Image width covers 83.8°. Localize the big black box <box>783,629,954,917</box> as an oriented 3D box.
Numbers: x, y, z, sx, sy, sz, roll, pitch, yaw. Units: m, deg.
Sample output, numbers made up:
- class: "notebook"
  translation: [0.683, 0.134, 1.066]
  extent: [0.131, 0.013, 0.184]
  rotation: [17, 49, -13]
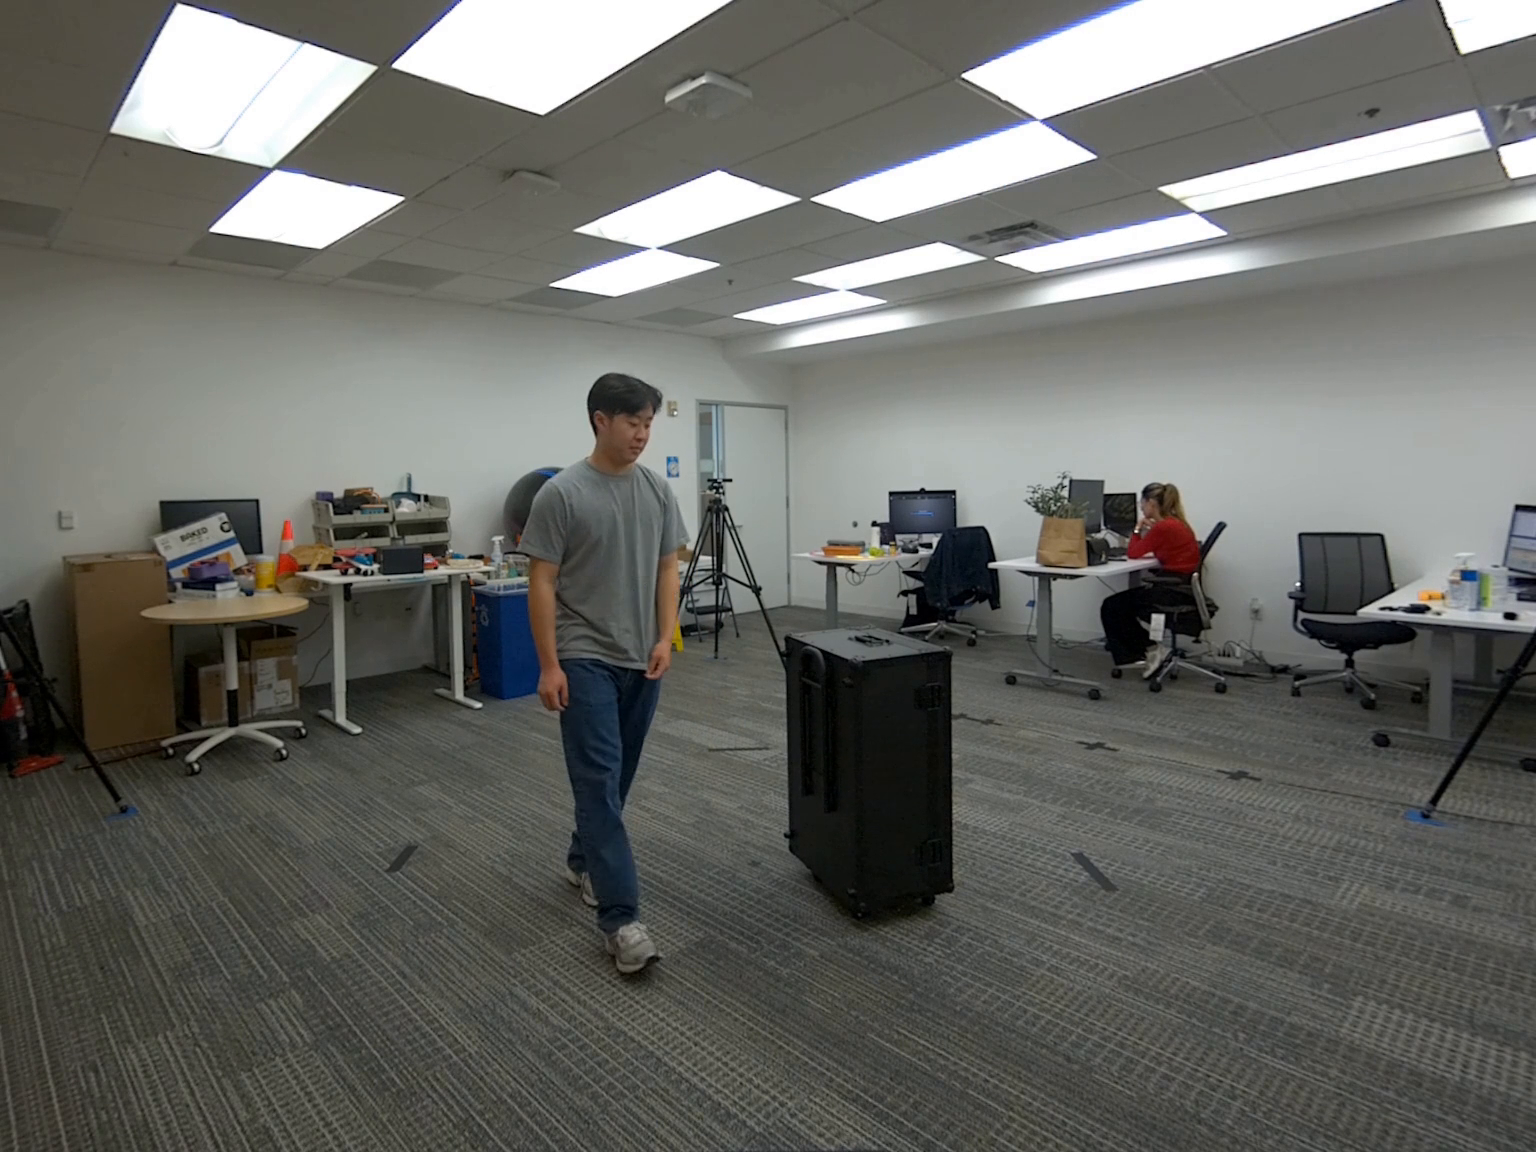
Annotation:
- class: "big black box"
  translation: [0.323, 0.642, 2.852]
  extent: [0.389, 0.857, 0.533]
  rotation: [-4, 6, -23]
